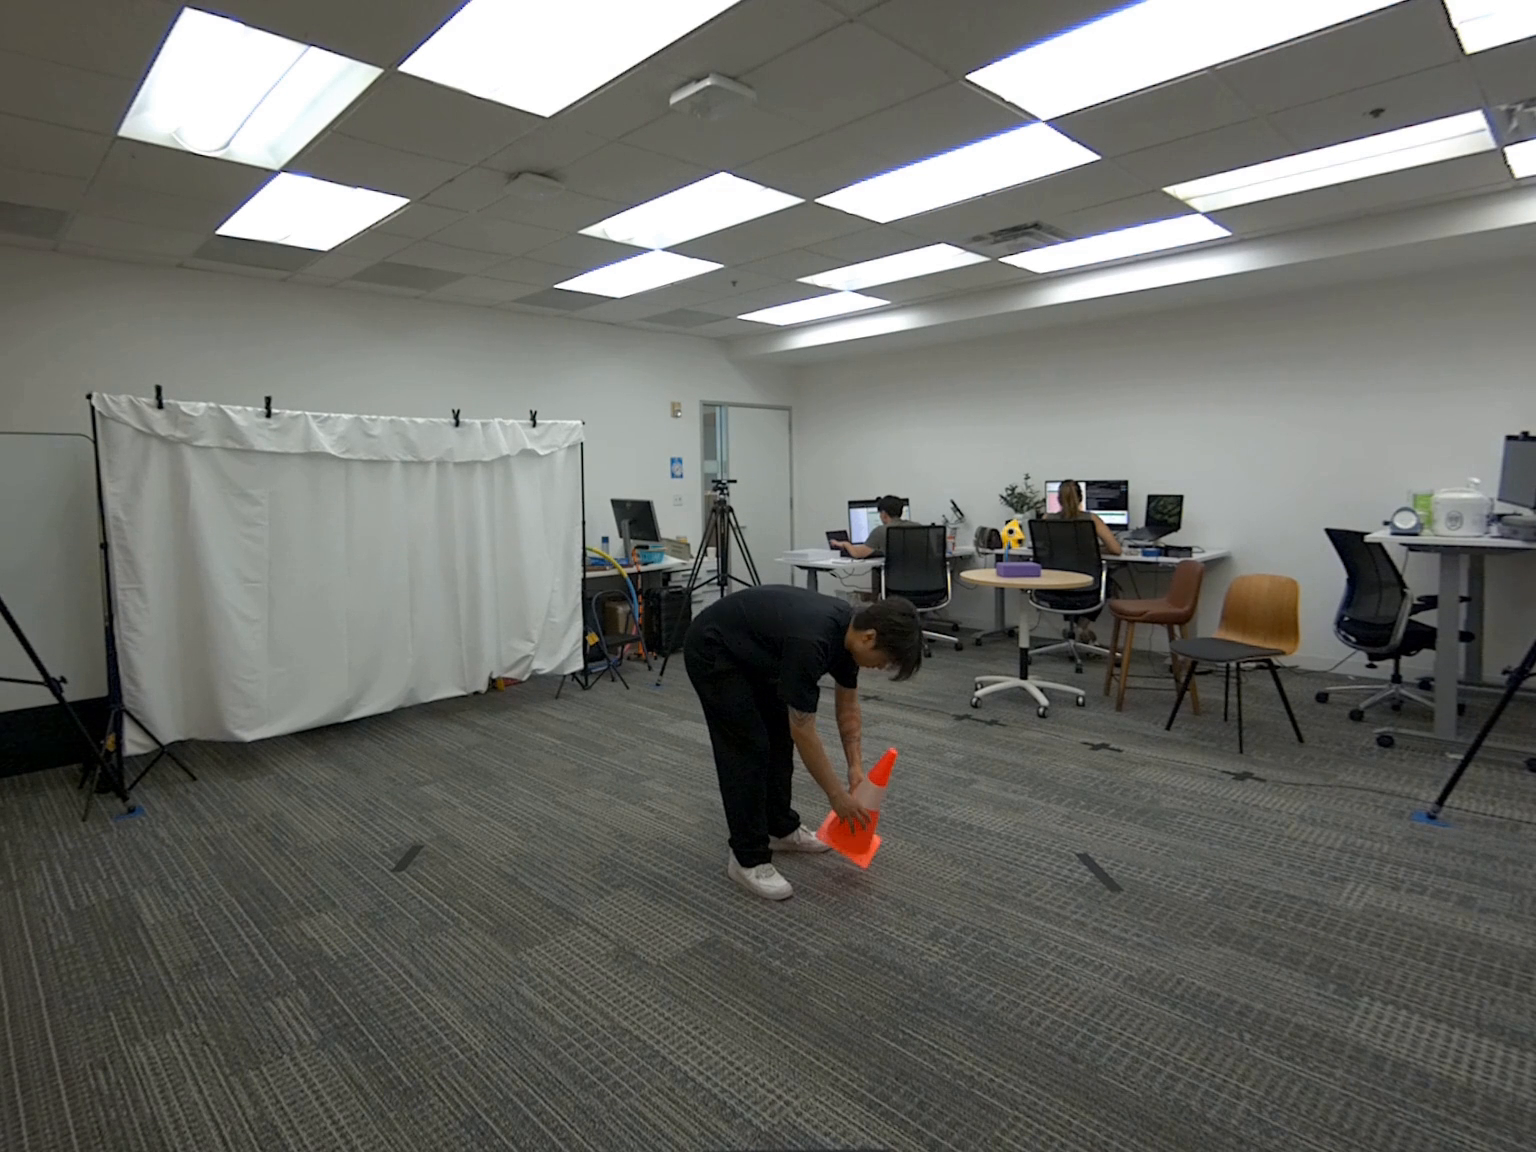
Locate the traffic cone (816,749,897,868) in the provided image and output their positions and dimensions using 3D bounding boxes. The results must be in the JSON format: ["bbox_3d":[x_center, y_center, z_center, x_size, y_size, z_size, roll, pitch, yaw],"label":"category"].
[{"bbox_3d":[0.345,0.737,2.899,0.211,0.380,0.199,25,18,22],"label":"traffic cone"}]
